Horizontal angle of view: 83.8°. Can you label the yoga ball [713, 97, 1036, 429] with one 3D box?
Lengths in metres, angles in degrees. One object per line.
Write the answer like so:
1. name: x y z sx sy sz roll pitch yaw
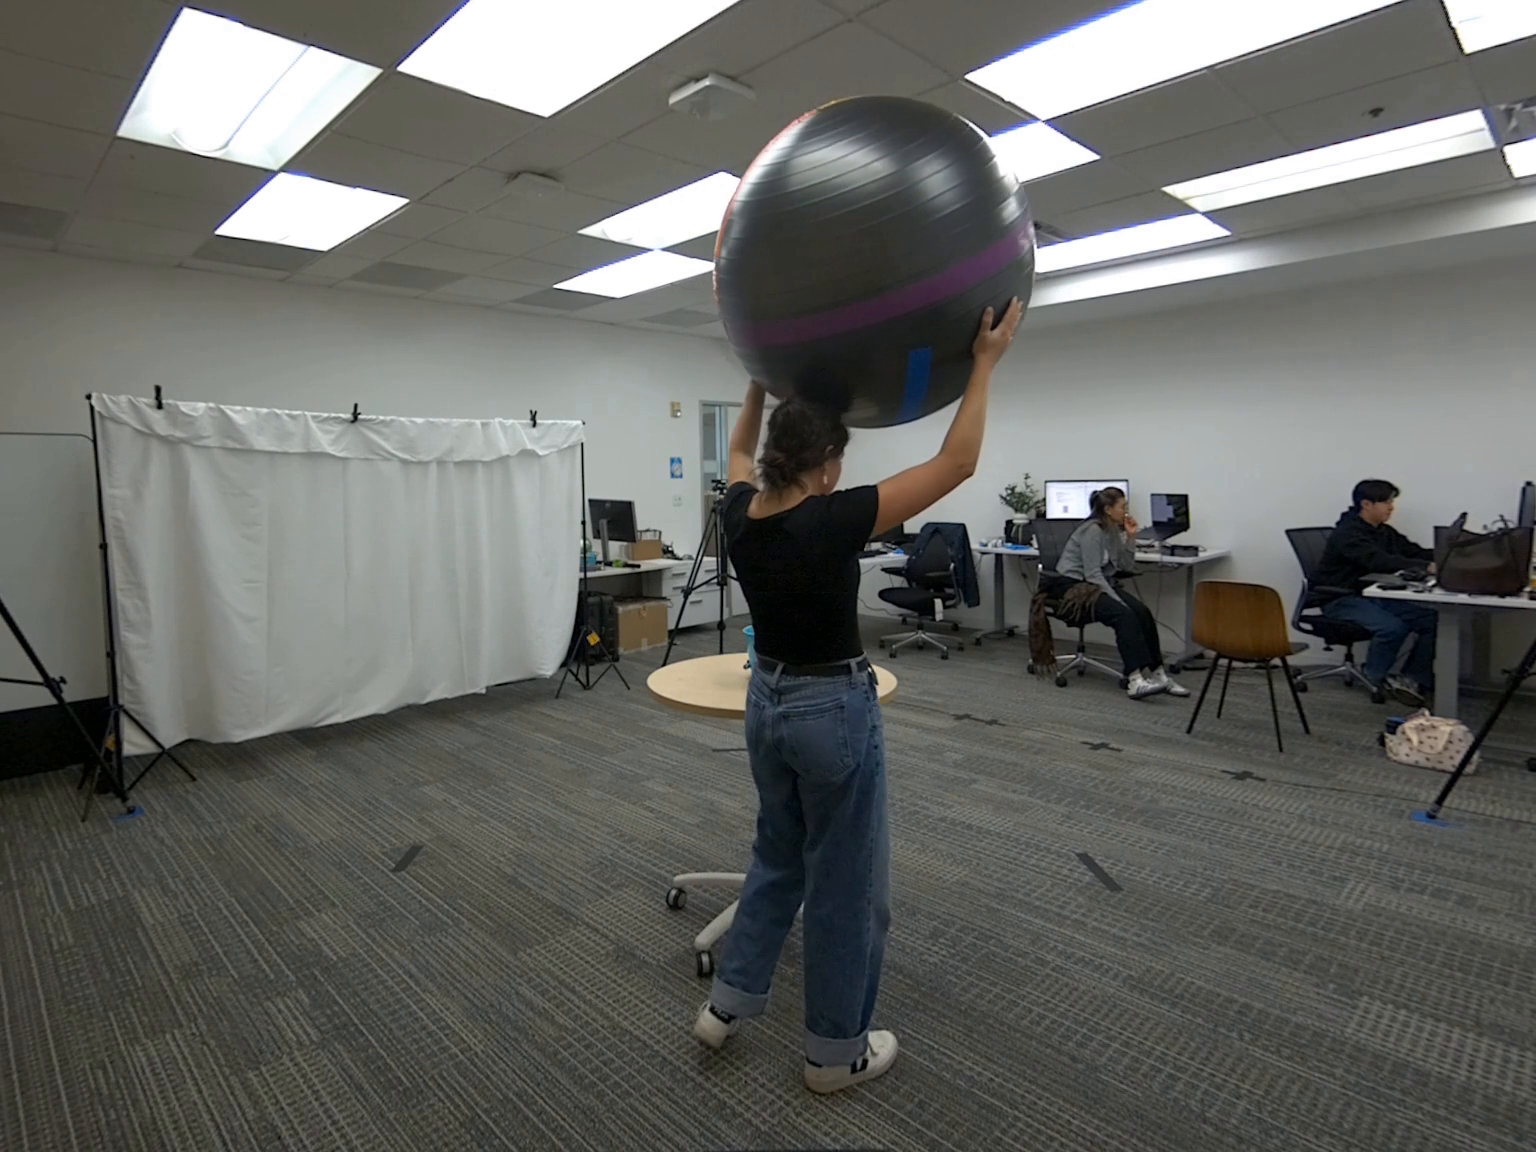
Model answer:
1. yoga ball: 0.253 -0.739 2.065 0.757 0.755 0.762 -1 5 -2
